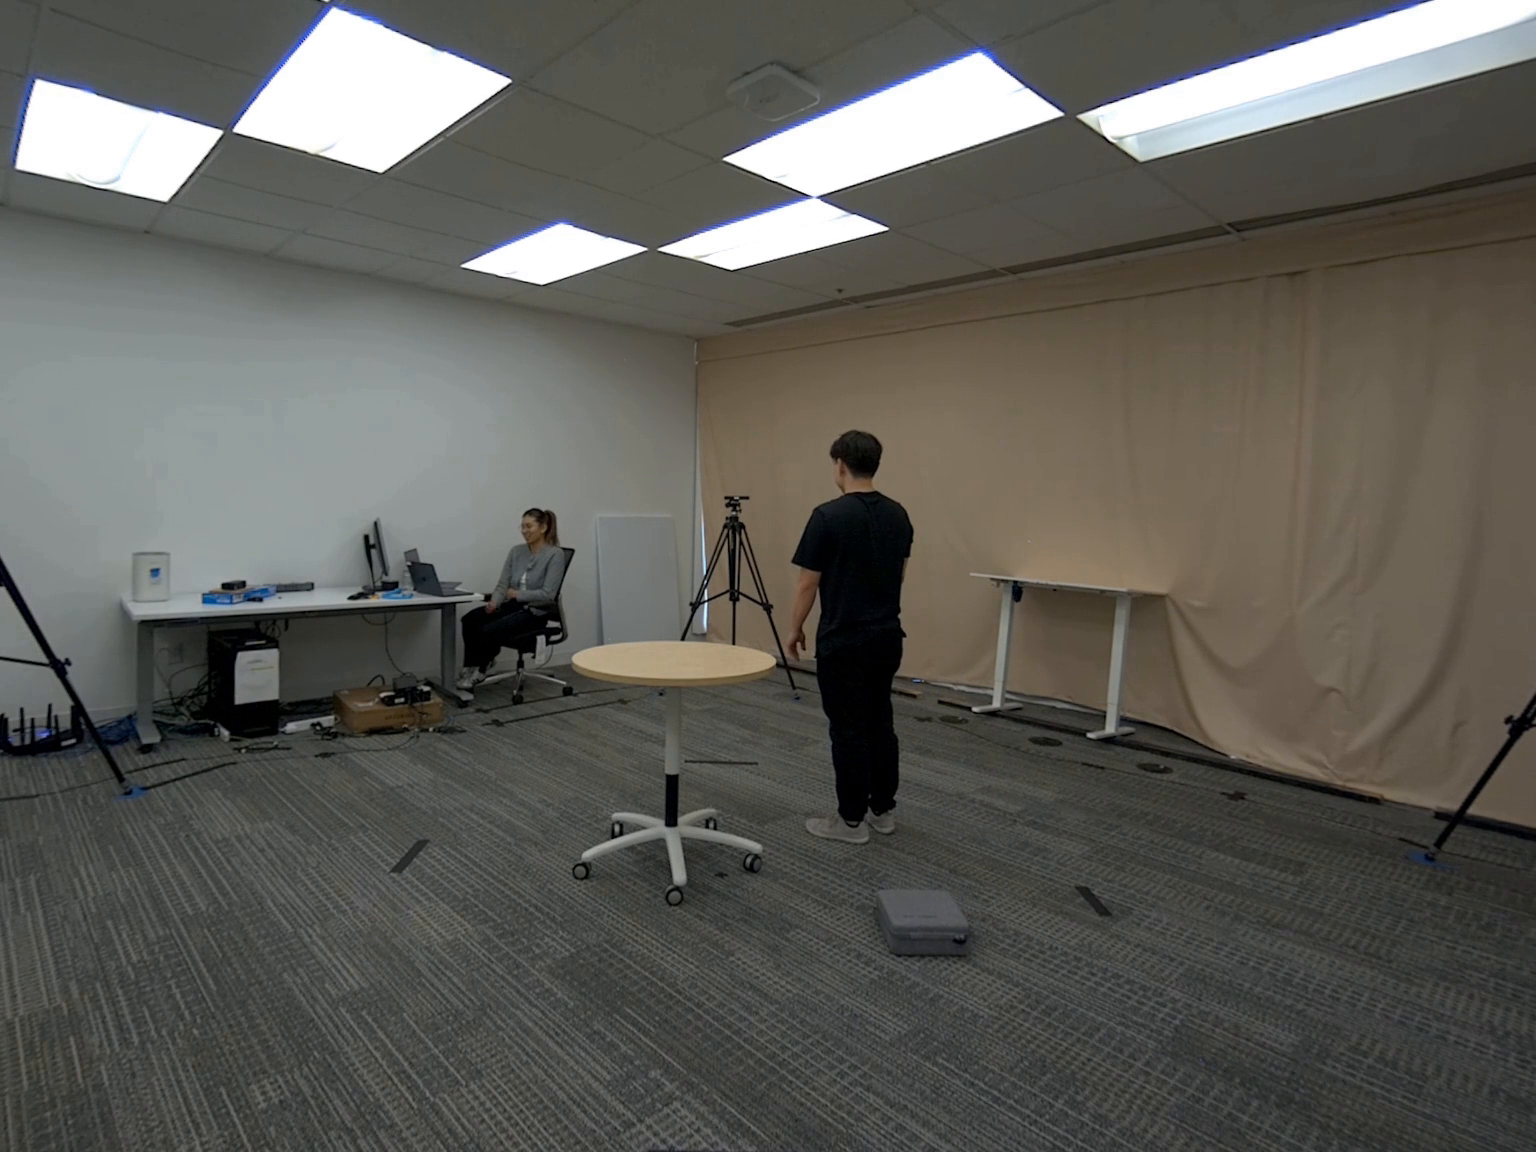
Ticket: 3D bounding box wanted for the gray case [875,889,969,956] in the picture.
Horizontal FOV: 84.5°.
[{"bbox_3d":[0.487,1.101,2.690,0.256,0.104,0.262,1,6,-4],"label":"gray case"}]
